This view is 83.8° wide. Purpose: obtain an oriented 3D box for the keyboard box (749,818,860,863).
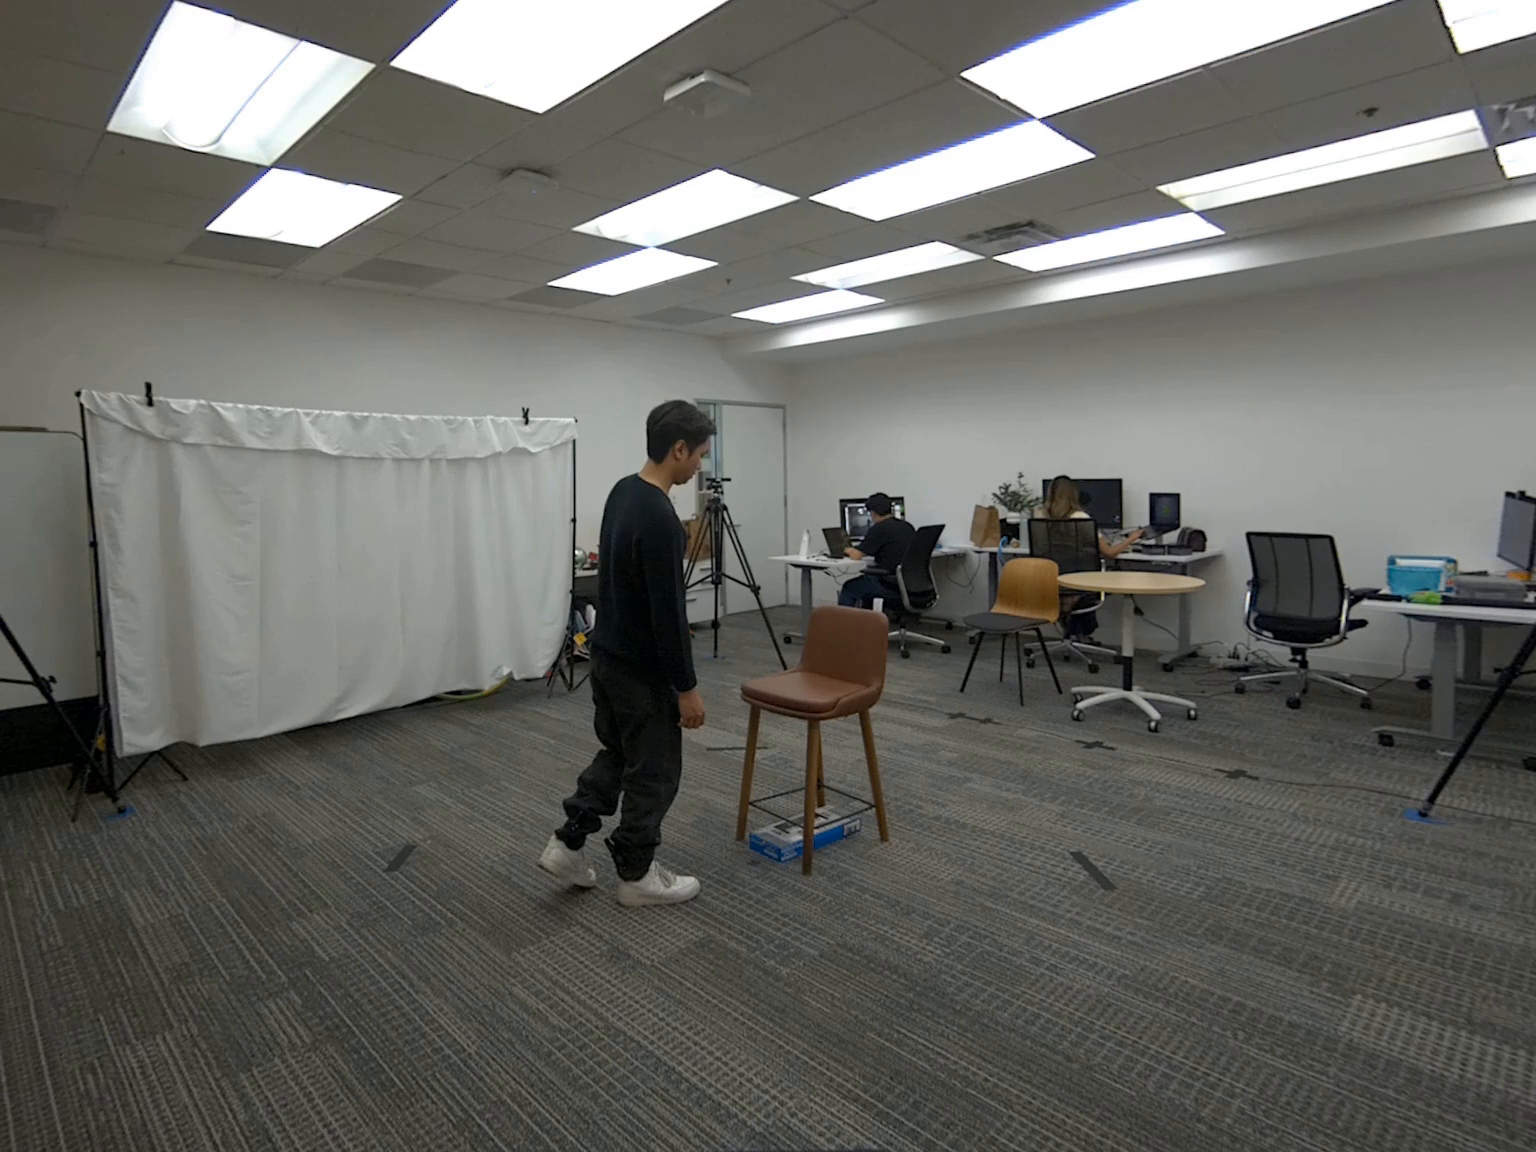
[{"bbox_3d":[0.153,0.992,3.294,0.425,0.059,0.181,-6,10,-40],"label":"keyboard box"}]
